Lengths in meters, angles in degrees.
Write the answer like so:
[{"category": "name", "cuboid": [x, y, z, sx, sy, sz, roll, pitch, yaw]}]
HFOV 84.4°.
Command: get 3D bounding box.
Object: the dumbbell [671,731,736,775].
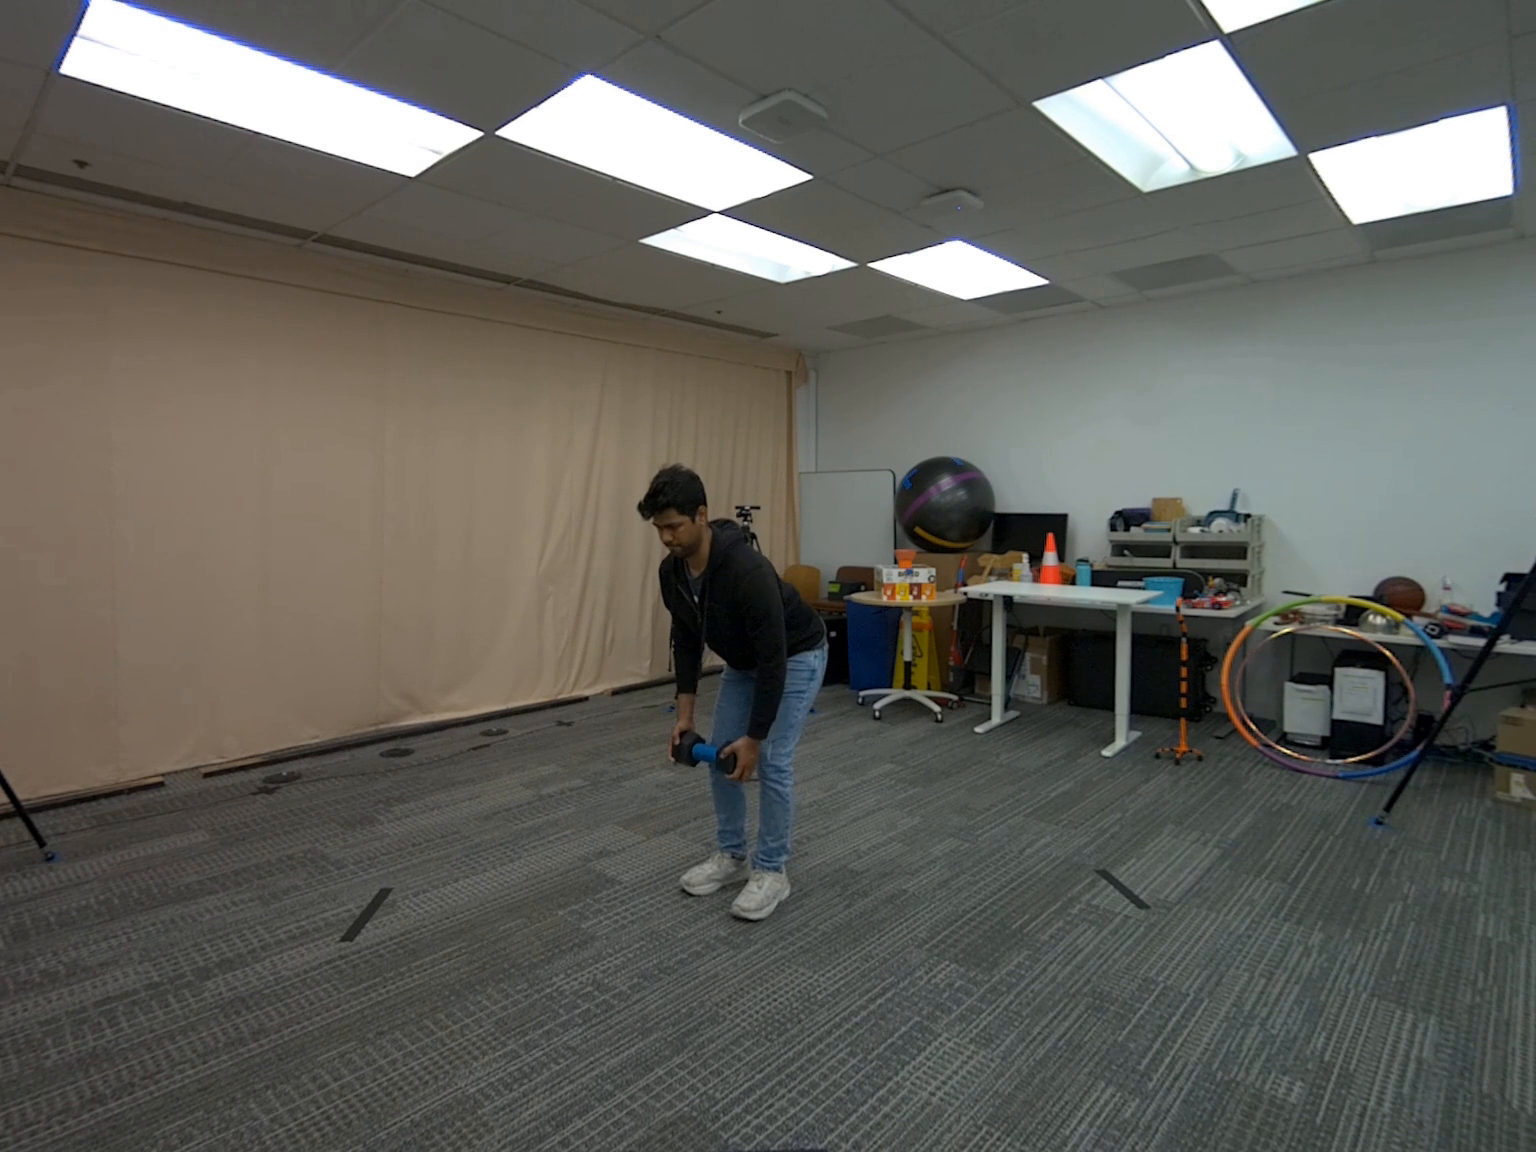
[{"category": "dumbbell", "cuboid": [-0.184, 0.616, 2.906, 0.303, 0.109, 0.118, 2, -30, 43]}]
